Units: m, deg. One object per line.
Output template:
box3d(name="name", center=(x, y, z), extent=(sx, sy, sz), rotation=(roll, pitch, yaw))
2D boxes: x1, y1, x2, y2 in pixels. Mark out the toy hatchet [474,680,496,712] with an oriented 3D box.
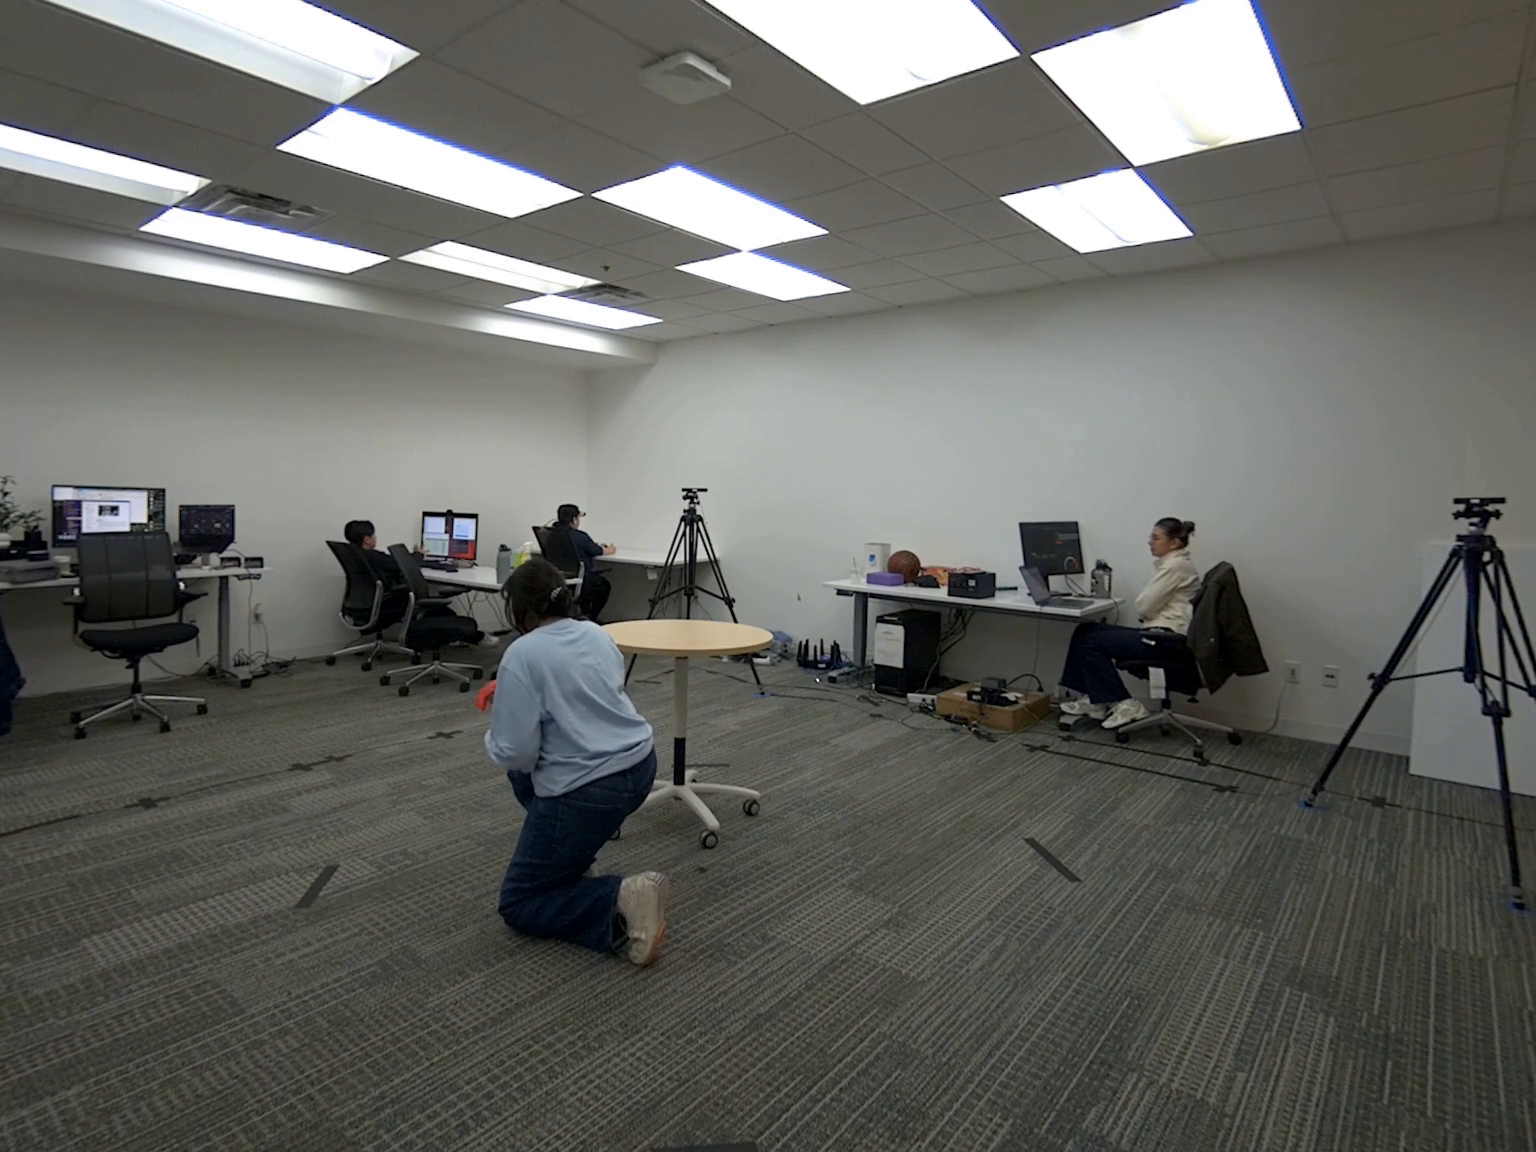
box3d(name="toy hatchet", center=(-0.958, 0.469, 2.908), extent=(0.132, 0.279, 0.028), rotation=(-25, -35, 12))
